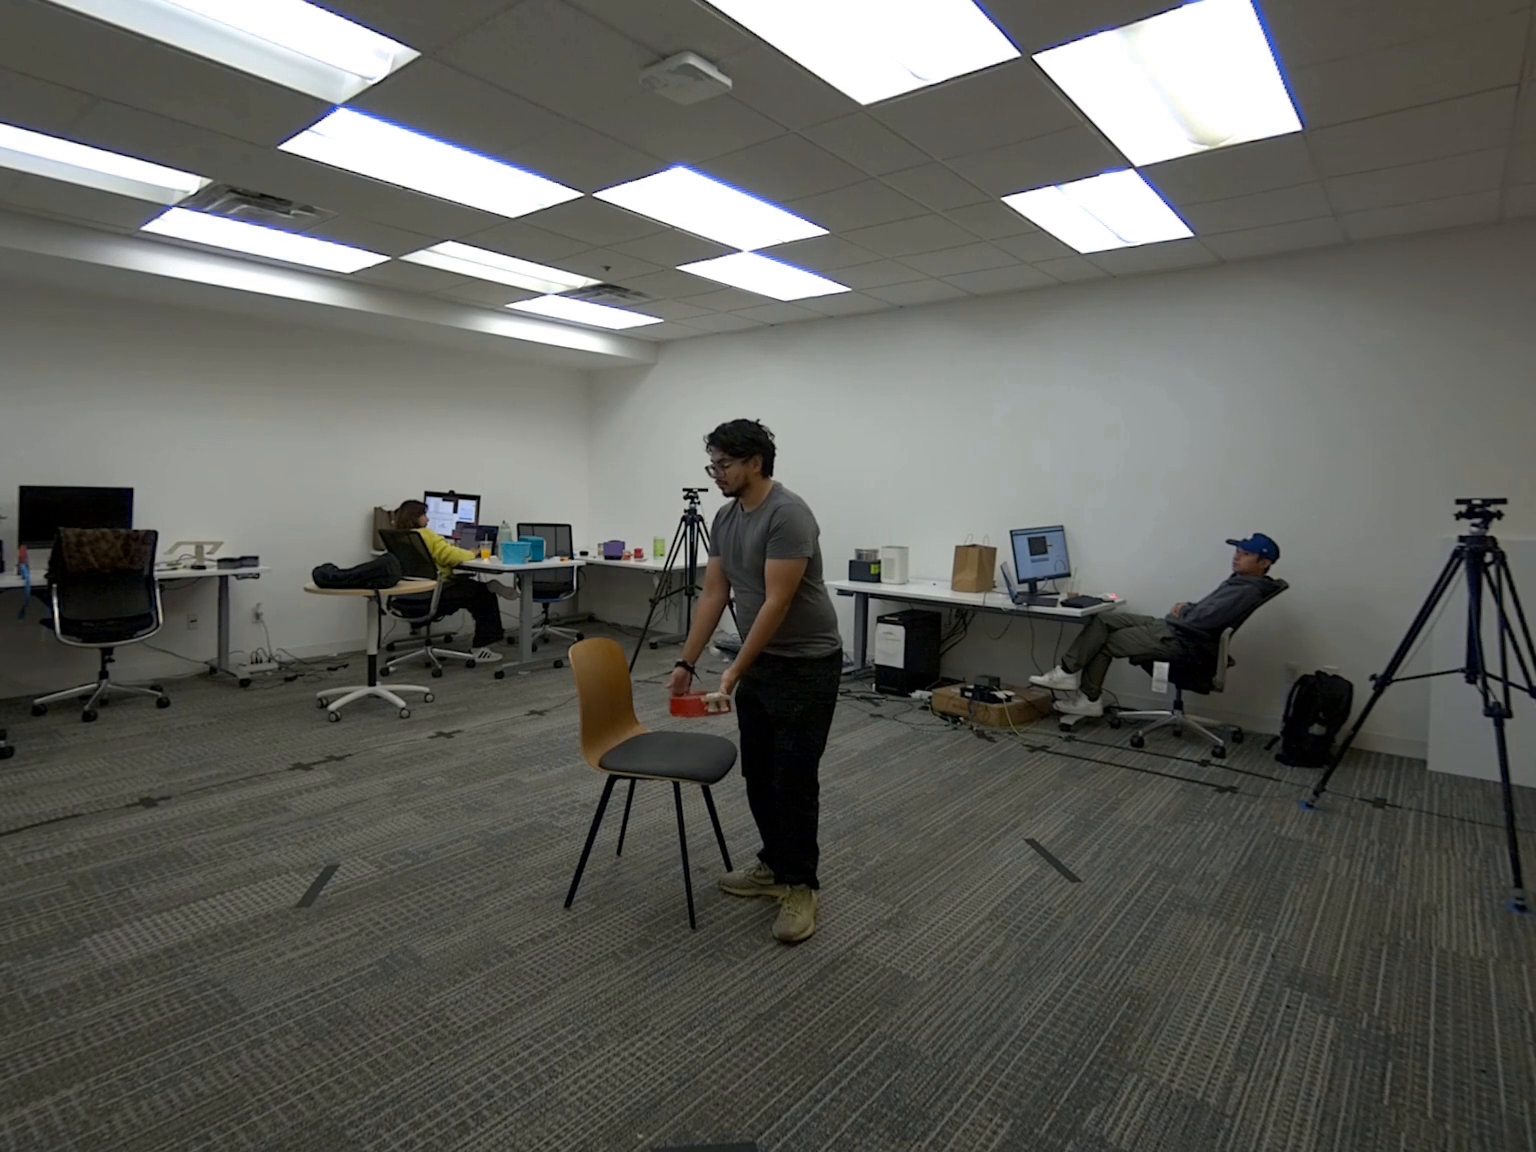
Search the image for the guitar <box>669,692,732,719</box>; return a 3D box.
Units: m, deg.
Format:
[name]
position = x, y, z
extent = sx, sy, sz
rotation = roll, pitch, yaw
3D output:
[guitar]
position = -0.220, 0.394, 2.614
extent = 0.192, 0.071, 0.497
rotation = -5, -5, -6
